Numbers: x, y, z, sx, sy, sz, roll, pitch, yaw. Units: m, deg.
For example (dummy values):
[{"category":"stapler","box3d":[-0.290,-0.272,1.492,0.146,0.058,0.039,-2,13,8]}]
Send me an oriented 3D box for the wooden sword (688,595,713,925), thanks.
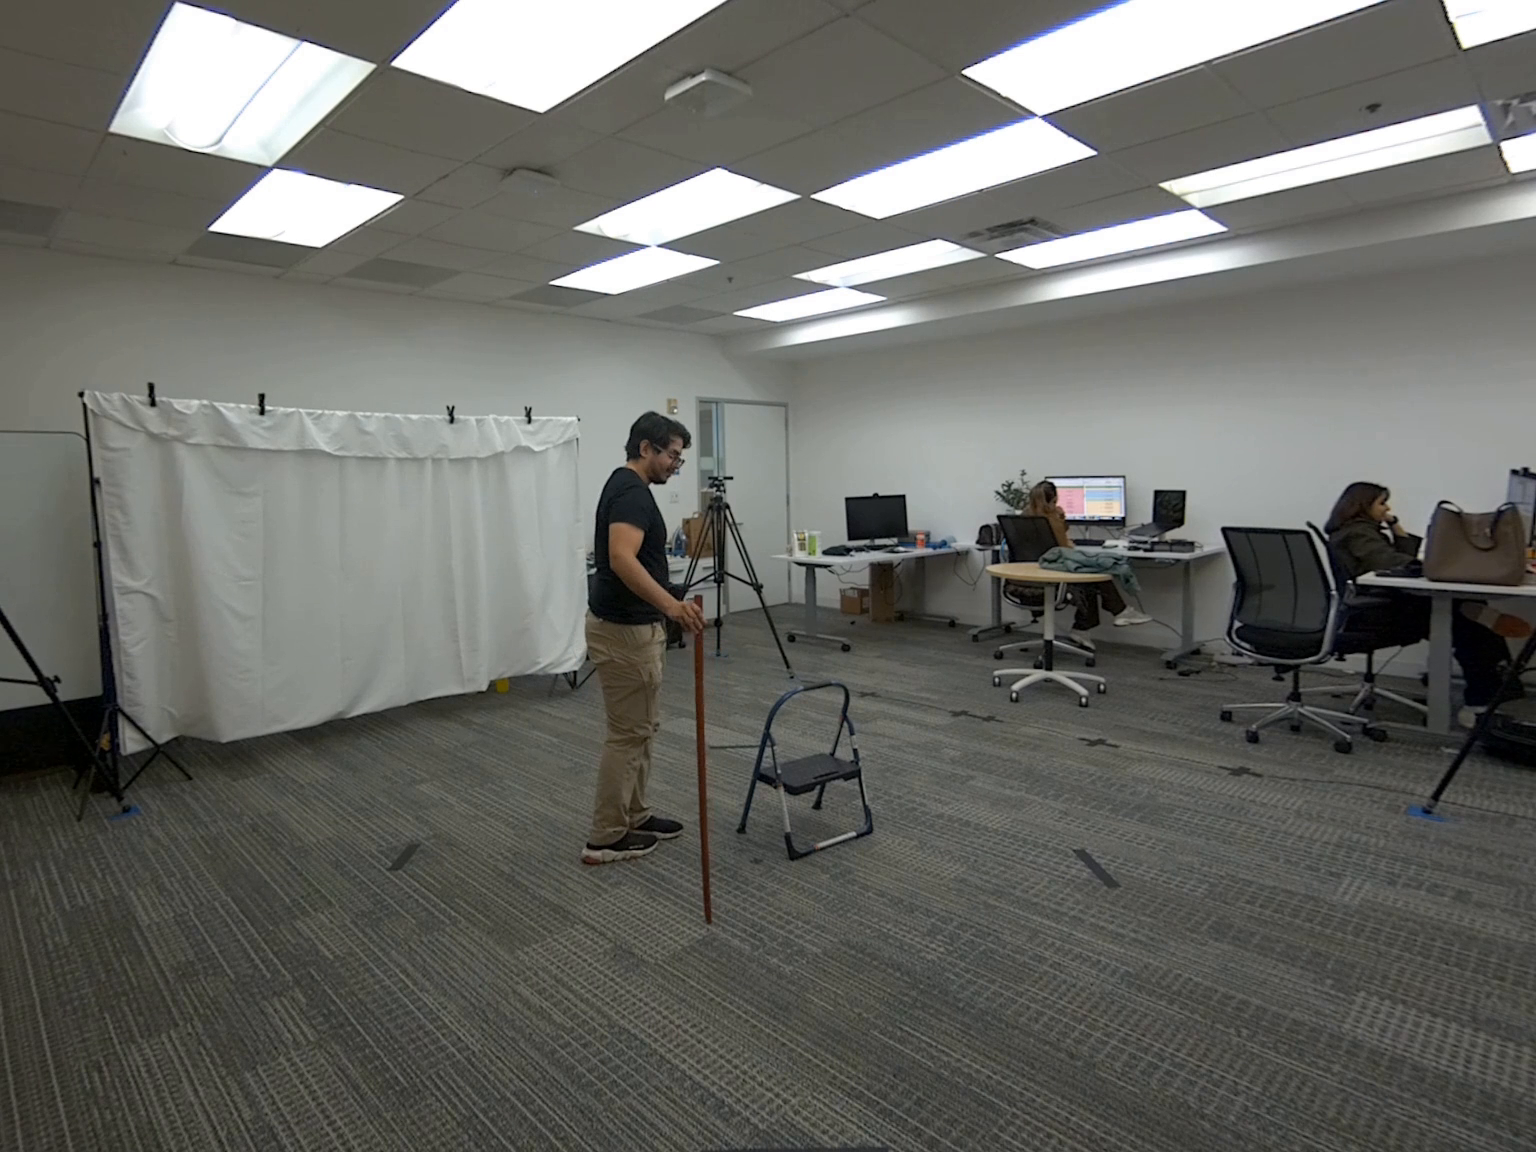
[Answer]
[{"category":"wooden sword","box3d":[-0.212,0.592,2.725,0.024,1.028,0.051,-3,-4,6]}]
